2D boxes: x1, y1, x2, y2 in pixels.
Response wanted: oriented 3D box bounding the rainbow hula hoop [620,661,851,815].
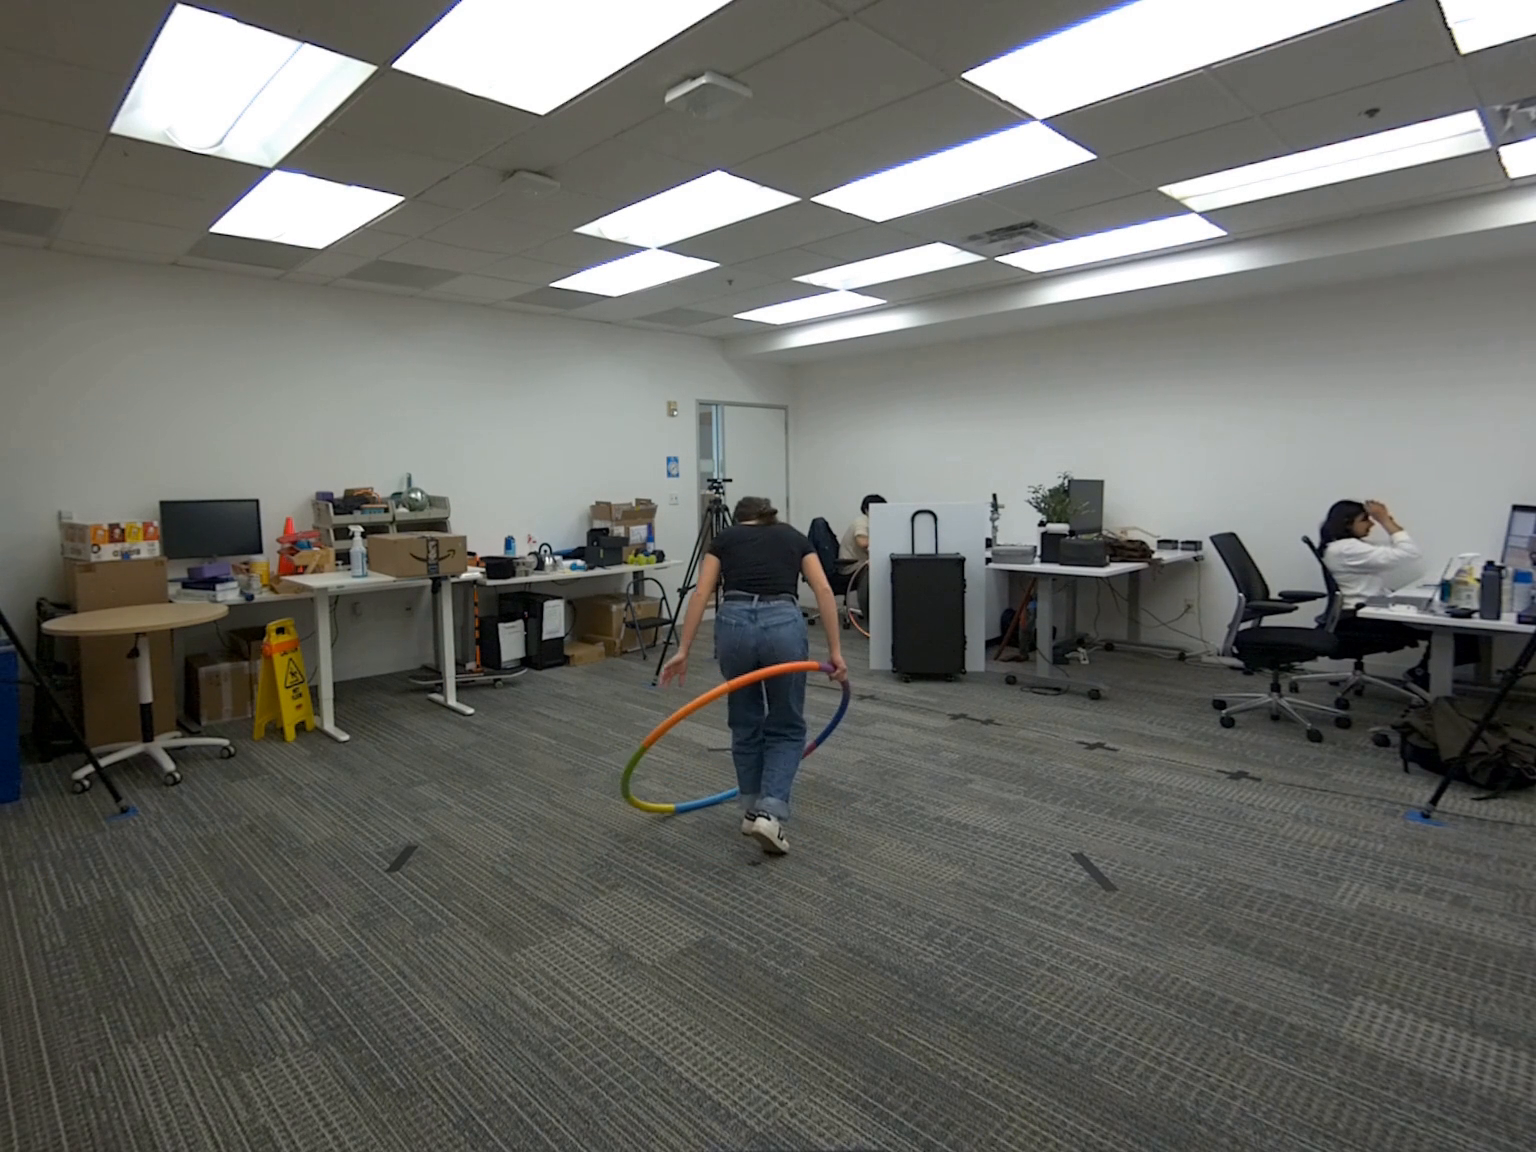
[{"bbox_3d":[-0.115,0.660,3.361,0.954,0.037,0.969,-4,-40,-34],"label":"rainbow hula hoop"}]
